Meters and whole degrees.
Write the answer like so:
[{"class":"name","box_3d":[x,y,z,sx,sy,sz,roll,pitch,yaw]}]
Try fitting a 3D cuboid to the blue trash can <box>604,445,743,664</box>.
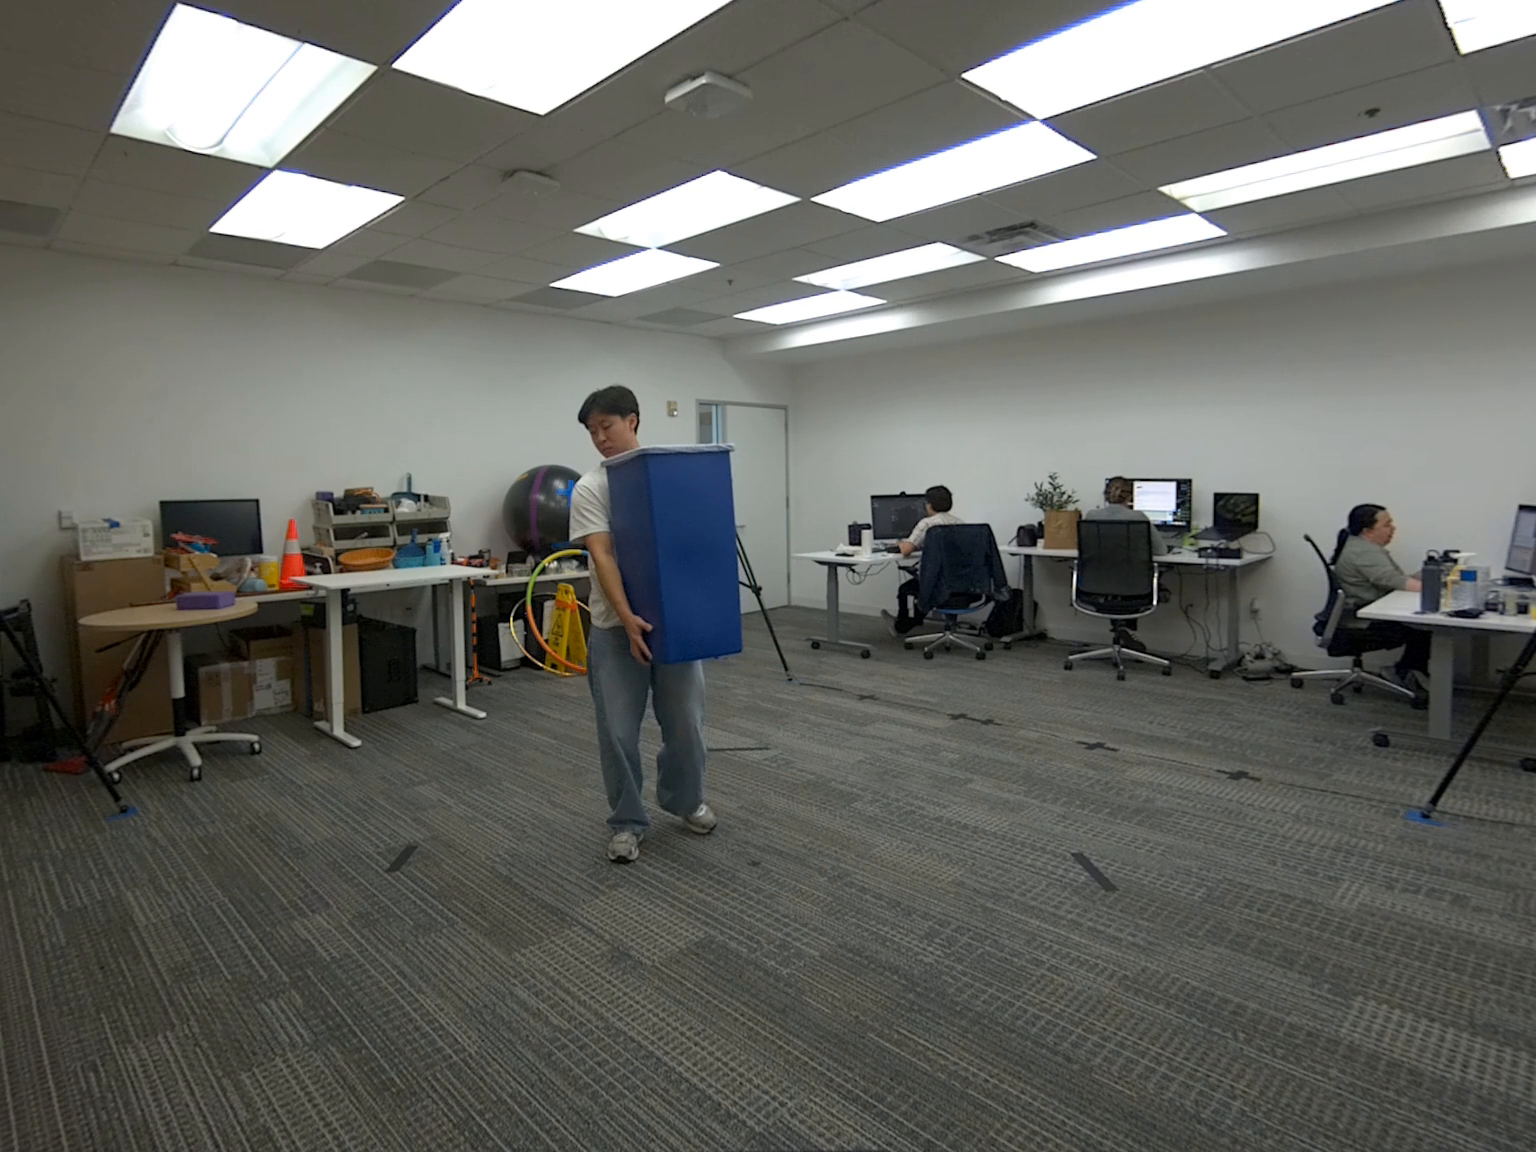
[{"class":"blue trash can","box_3d":[-0.316,-0.080,2.969,0.365,0.714,0.387,-5,-1,-33]}]
